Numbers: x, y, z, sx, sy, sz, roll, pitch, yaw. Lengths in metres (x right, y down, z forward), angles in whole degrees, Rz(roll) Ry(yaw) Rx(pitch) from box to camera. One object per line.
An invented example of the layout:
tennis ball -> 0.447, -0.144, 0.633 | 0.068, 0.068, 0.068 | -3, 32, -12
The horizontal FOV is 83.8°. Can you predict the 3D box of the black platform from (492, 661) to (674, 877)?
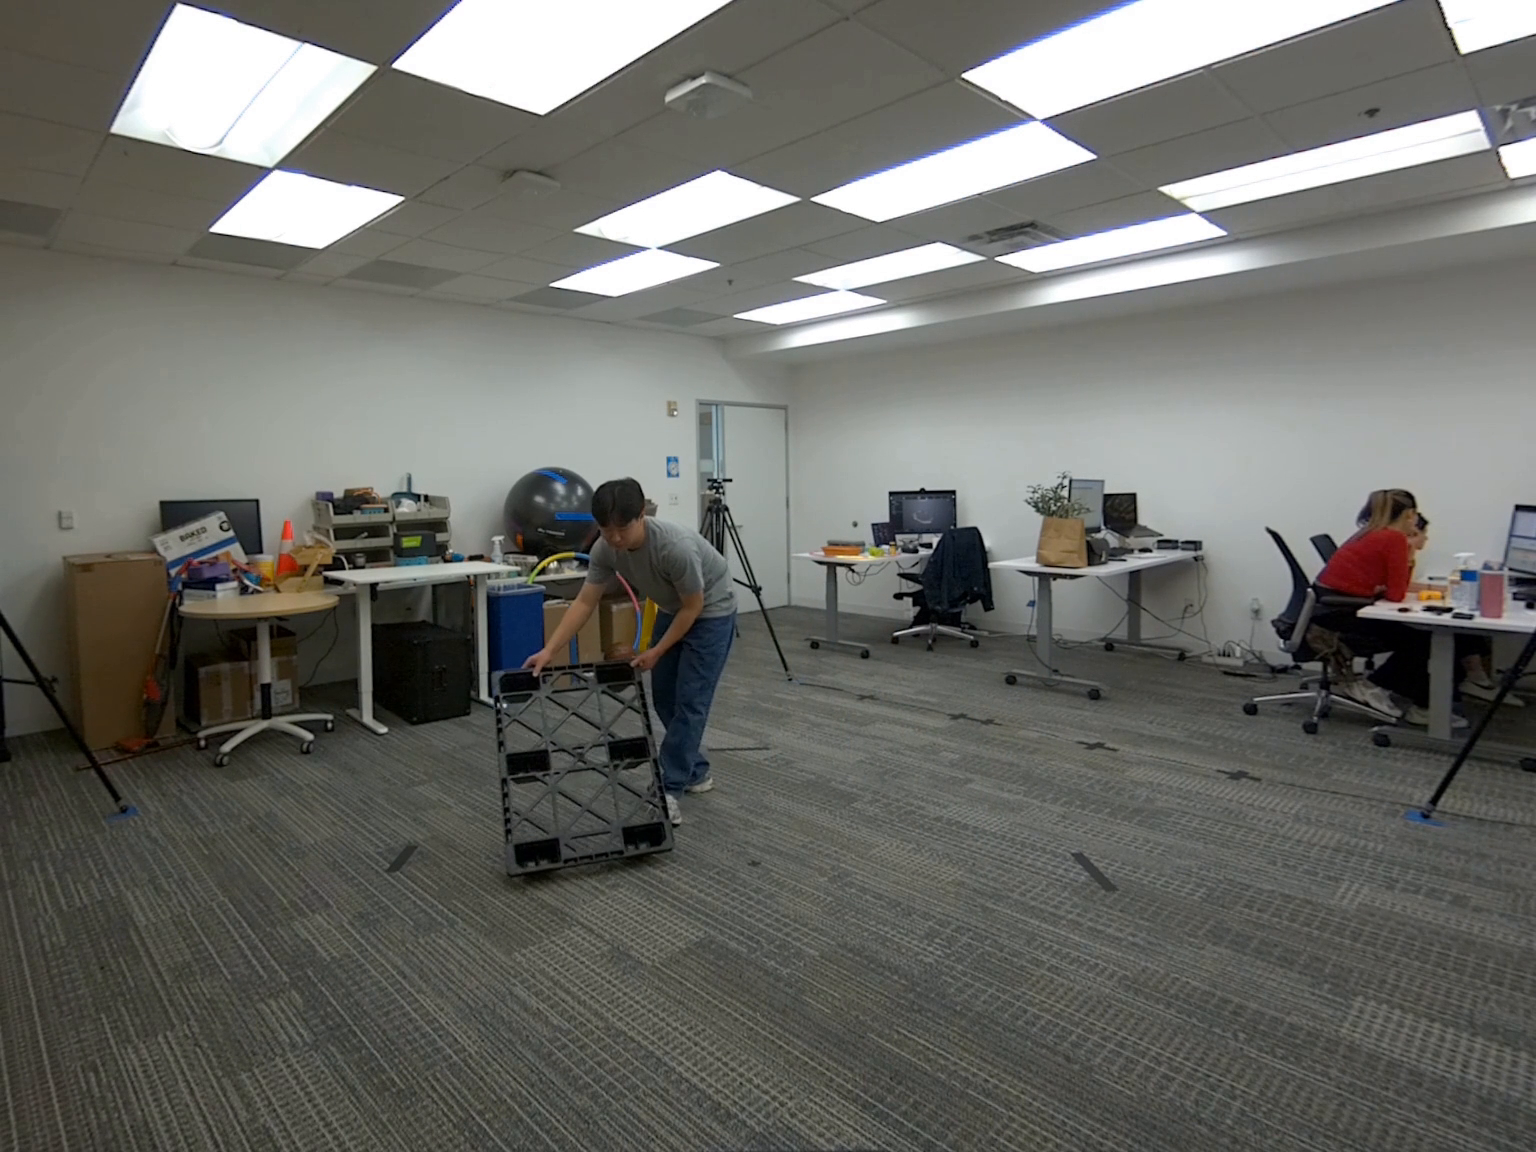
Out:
black platform -> -0.730, 0.714, 3.297 | 0.595, 0.832, 0.141 | -3, -37, -19
